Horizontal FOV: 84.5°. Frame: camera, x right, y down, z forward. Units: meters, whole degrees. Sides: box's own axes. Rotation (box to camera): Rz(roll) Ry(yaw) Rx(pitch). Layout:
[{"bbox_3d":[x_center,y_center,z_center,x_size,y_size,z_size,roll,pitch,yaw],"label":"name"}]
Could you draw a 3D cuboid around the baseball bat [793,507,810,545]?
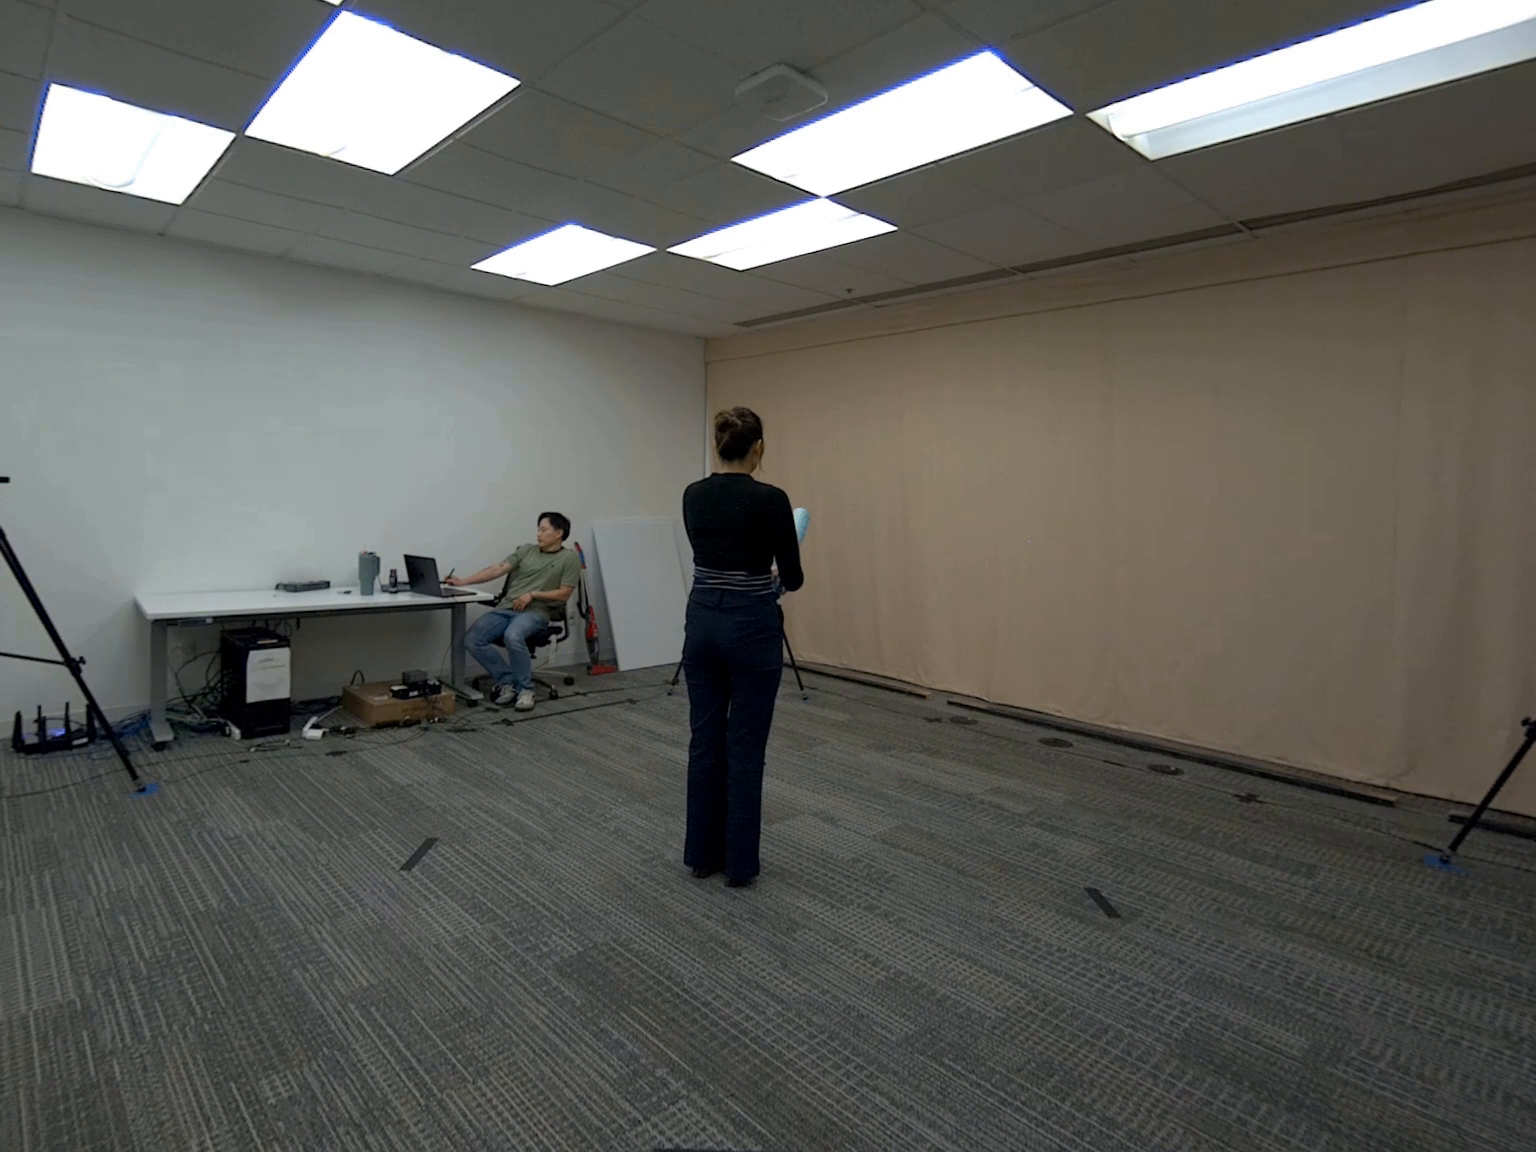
[{"bbox_3d":[0.081,-0.086,3.526,0.090,0.087,0.549,2,40,17],"label":"baseball bat"}]
